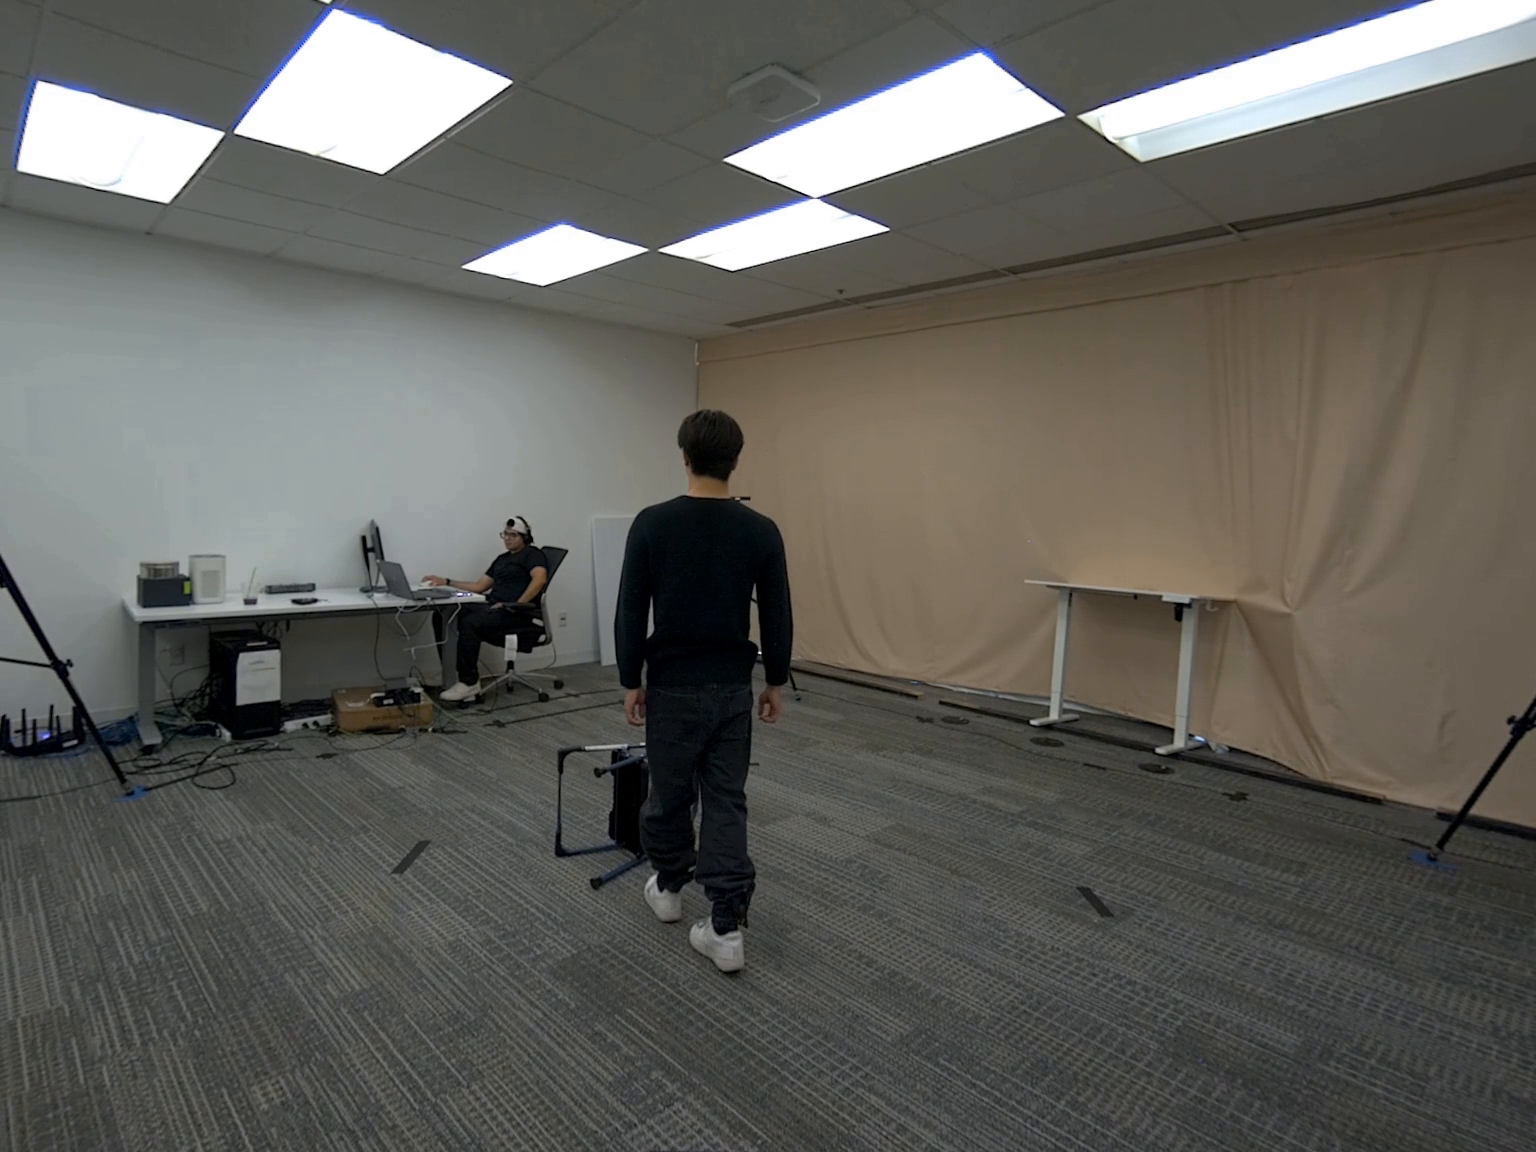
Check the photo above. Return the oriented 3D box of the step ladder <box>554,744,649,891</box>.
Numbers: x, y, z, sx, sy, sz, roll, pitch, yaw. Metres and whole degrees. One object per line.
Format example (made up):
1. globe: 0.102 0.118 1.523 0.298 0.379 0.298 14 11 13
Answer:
1. step ladder: -0.488 0.878 3.274 0.592 0.430 0.358 0 4 -39
